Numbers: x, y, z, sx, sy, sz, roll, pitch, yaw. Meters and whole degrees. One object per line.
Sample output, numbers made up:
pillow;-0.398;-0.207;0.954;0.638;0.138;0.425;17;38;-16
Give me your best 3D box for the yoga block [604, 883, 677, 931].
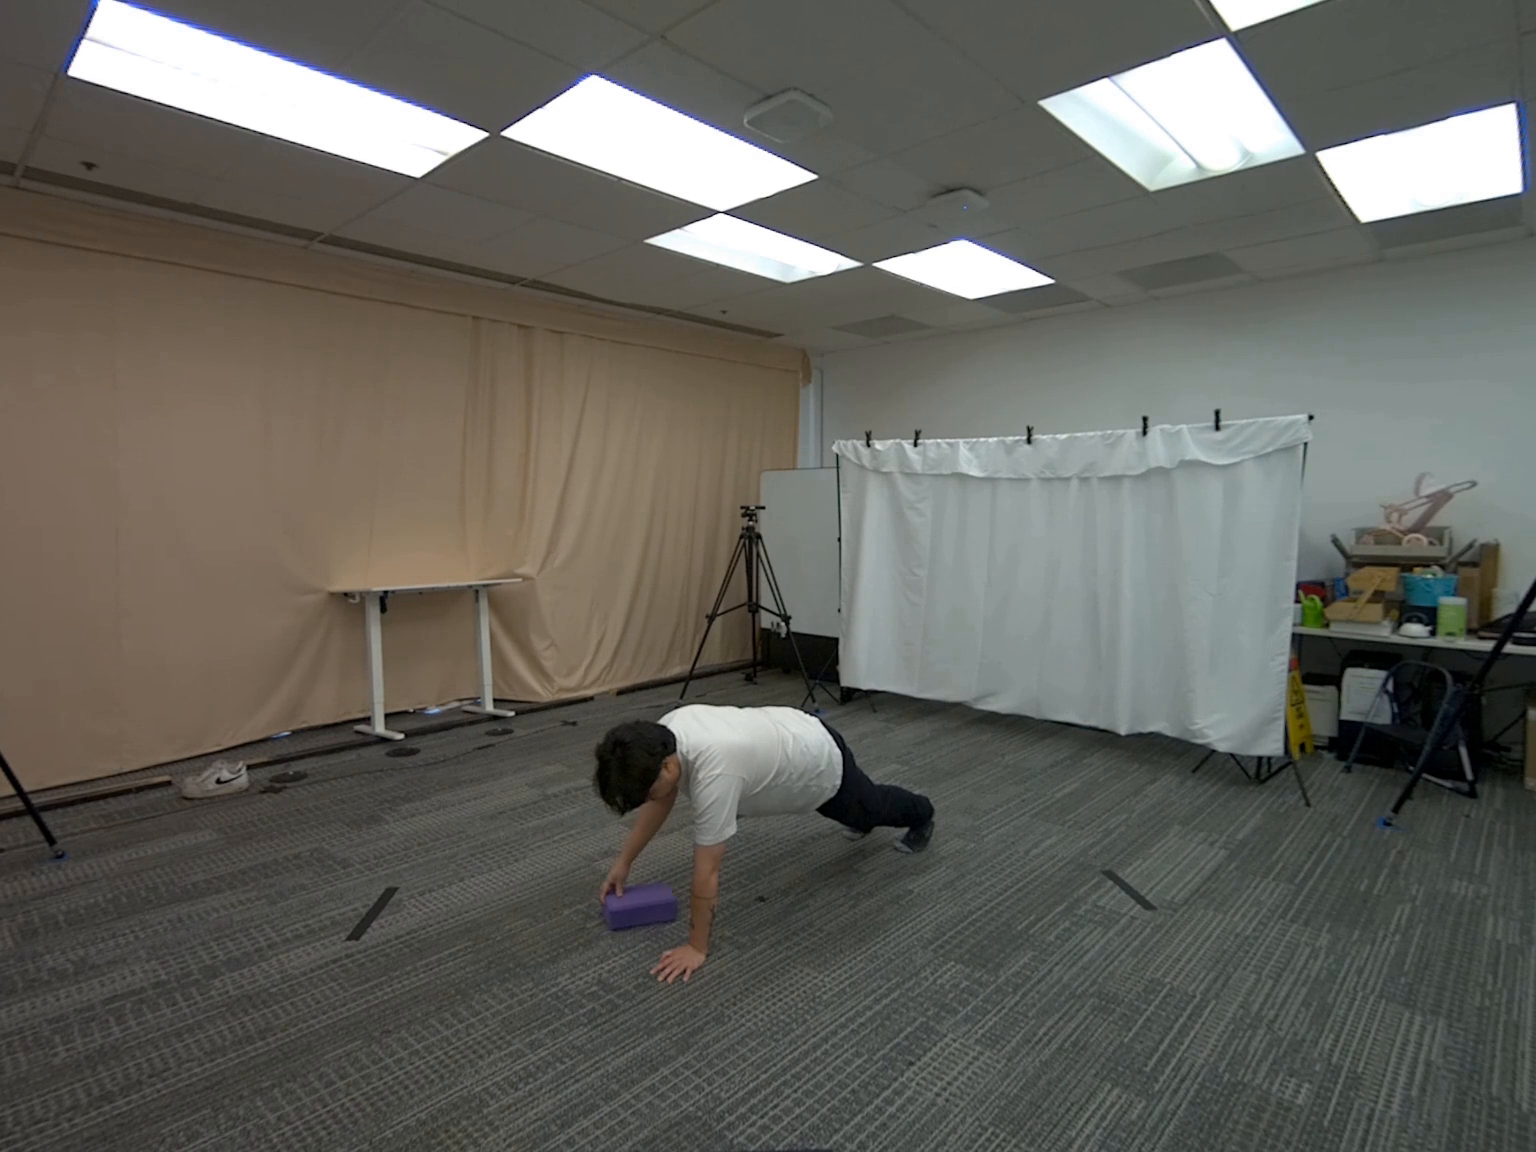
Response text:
yoga block;-0.426;1.119;2.854;0.225;0.076;0.152;-2;4;-19
